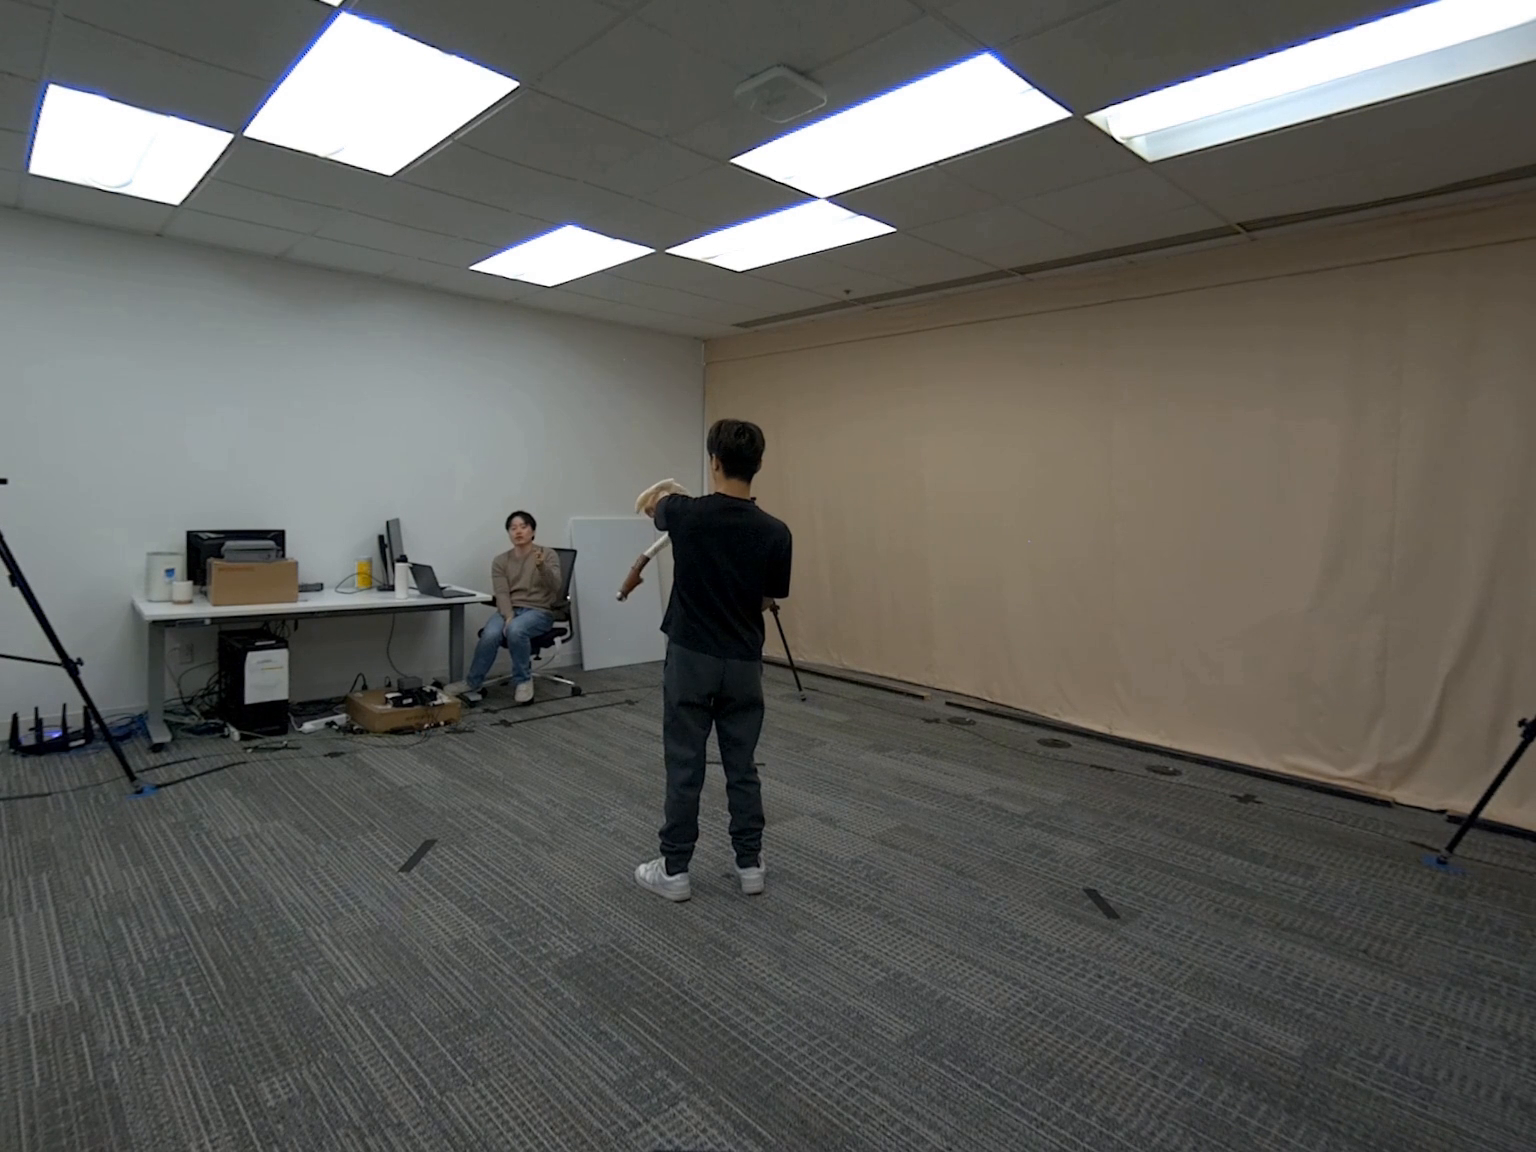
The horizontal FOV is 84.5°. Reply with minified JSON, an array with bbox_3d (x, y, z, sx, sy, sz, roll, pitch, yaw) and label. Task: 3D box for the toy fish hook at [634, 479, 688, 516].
[{"bbox_3d":[-0.474,-0.143,3.253,0.221,0.508,0.049,35,-11,-15],"label":"toy fish hook"}]
